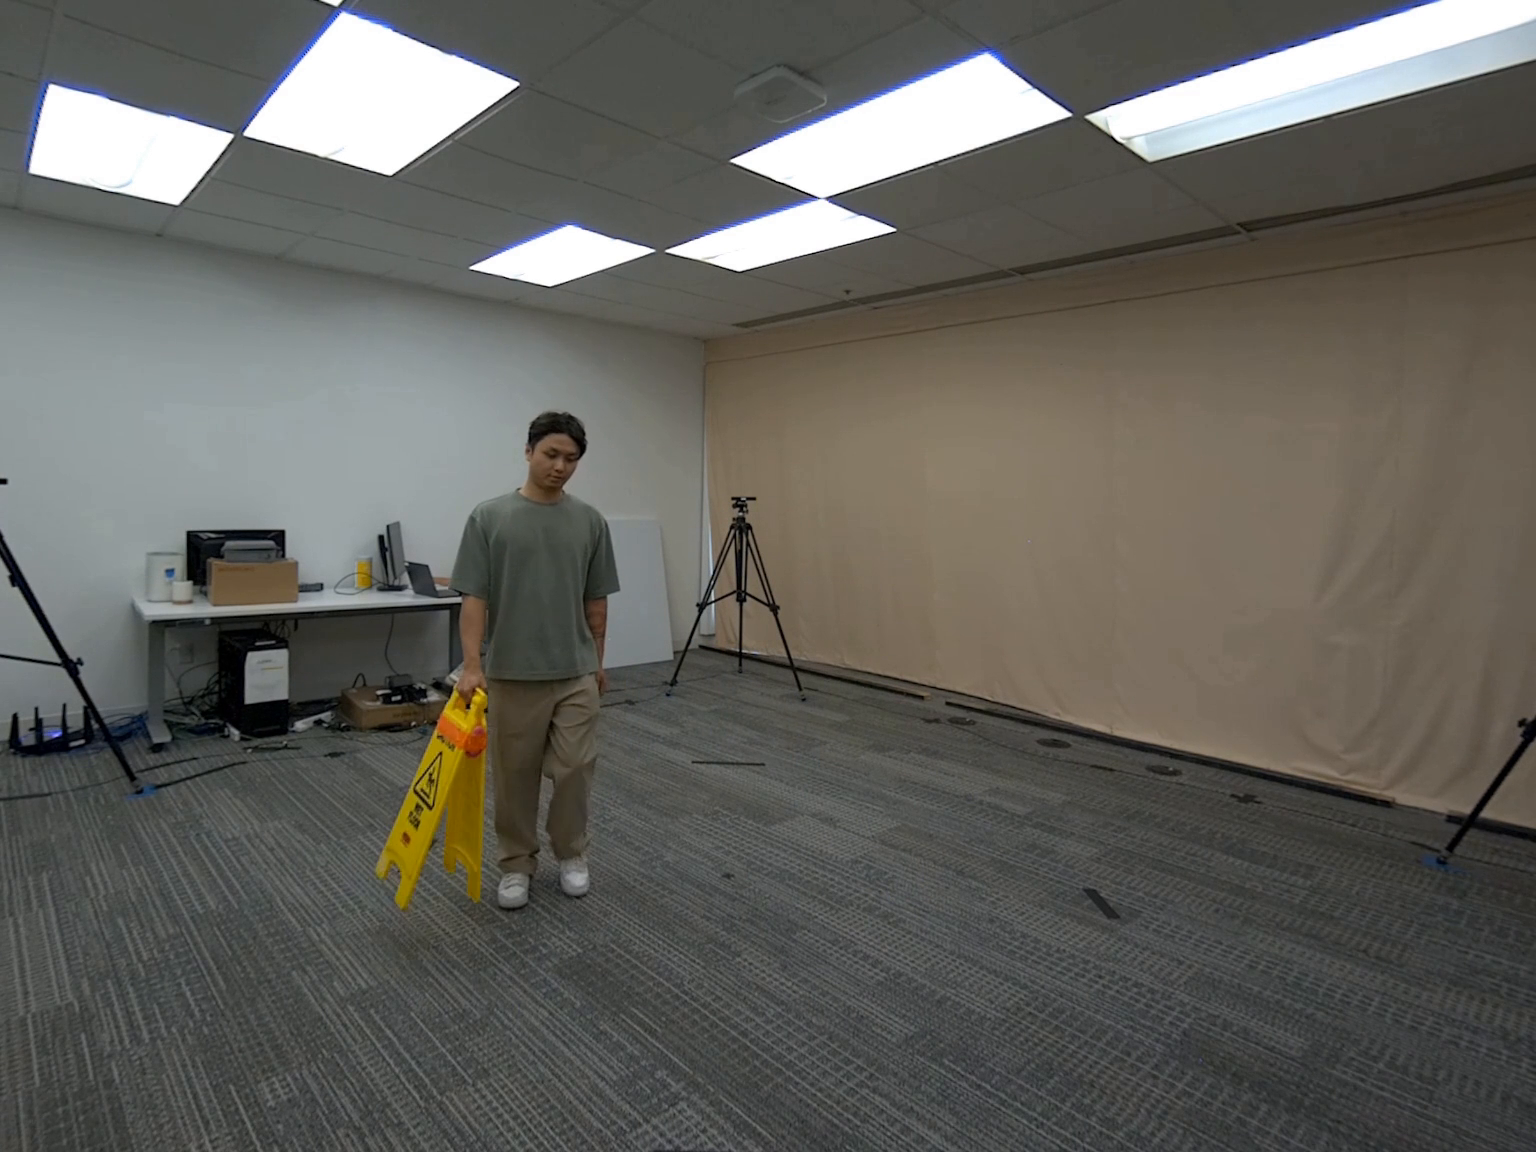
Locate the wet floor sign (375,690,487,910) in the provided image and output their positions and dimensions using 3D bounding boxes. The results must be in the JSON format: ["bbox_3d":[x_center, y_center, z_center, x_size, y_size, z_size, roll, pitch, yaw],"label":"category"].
[{"bbox_3d":[-1.012,0.671,2.684,0.282,0.646,0.290,12,1,-42],"label":"wet floor sign"}]
